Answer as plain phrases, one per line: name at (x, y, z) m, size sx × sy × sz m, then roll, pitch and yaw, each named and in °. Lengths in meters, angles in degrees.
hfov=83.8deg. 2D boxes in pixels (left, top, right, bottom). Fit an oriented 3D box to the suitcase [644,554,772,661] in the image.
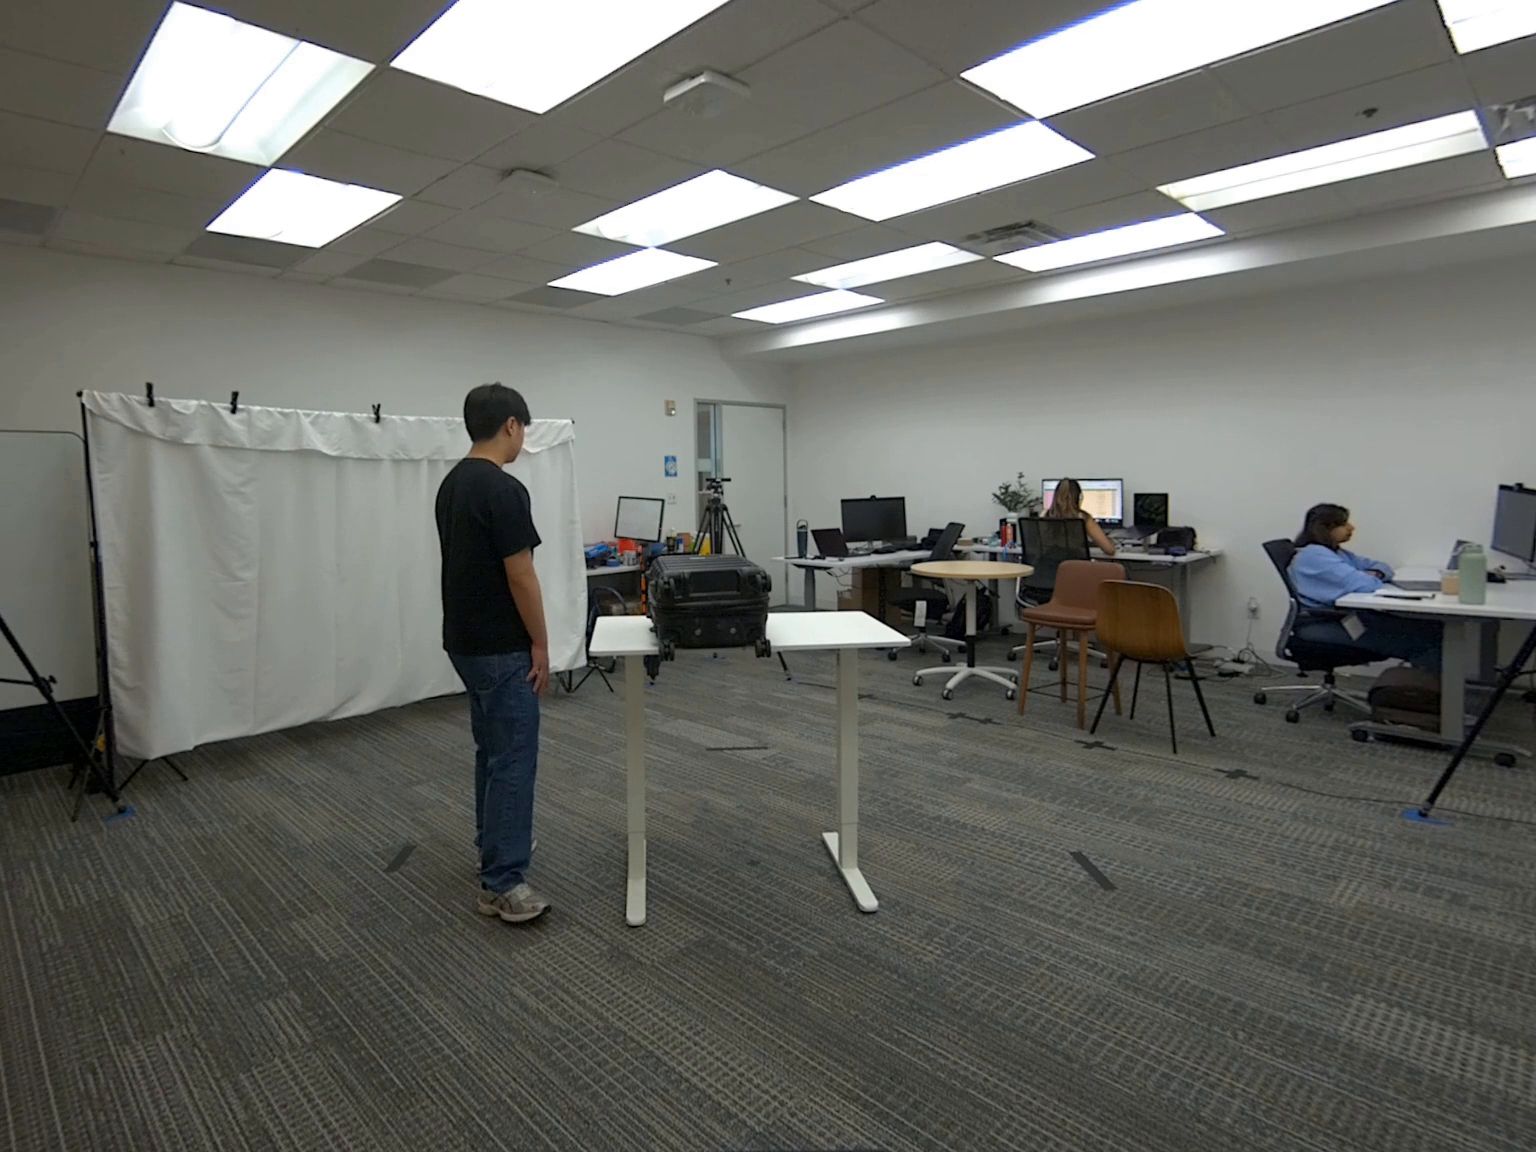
suitcase at (-0.242, 0.052, 2.994) m, size 0.381 × 0.255 × 0.993 m, roll -2°, pitch 9°, yaw -10°
